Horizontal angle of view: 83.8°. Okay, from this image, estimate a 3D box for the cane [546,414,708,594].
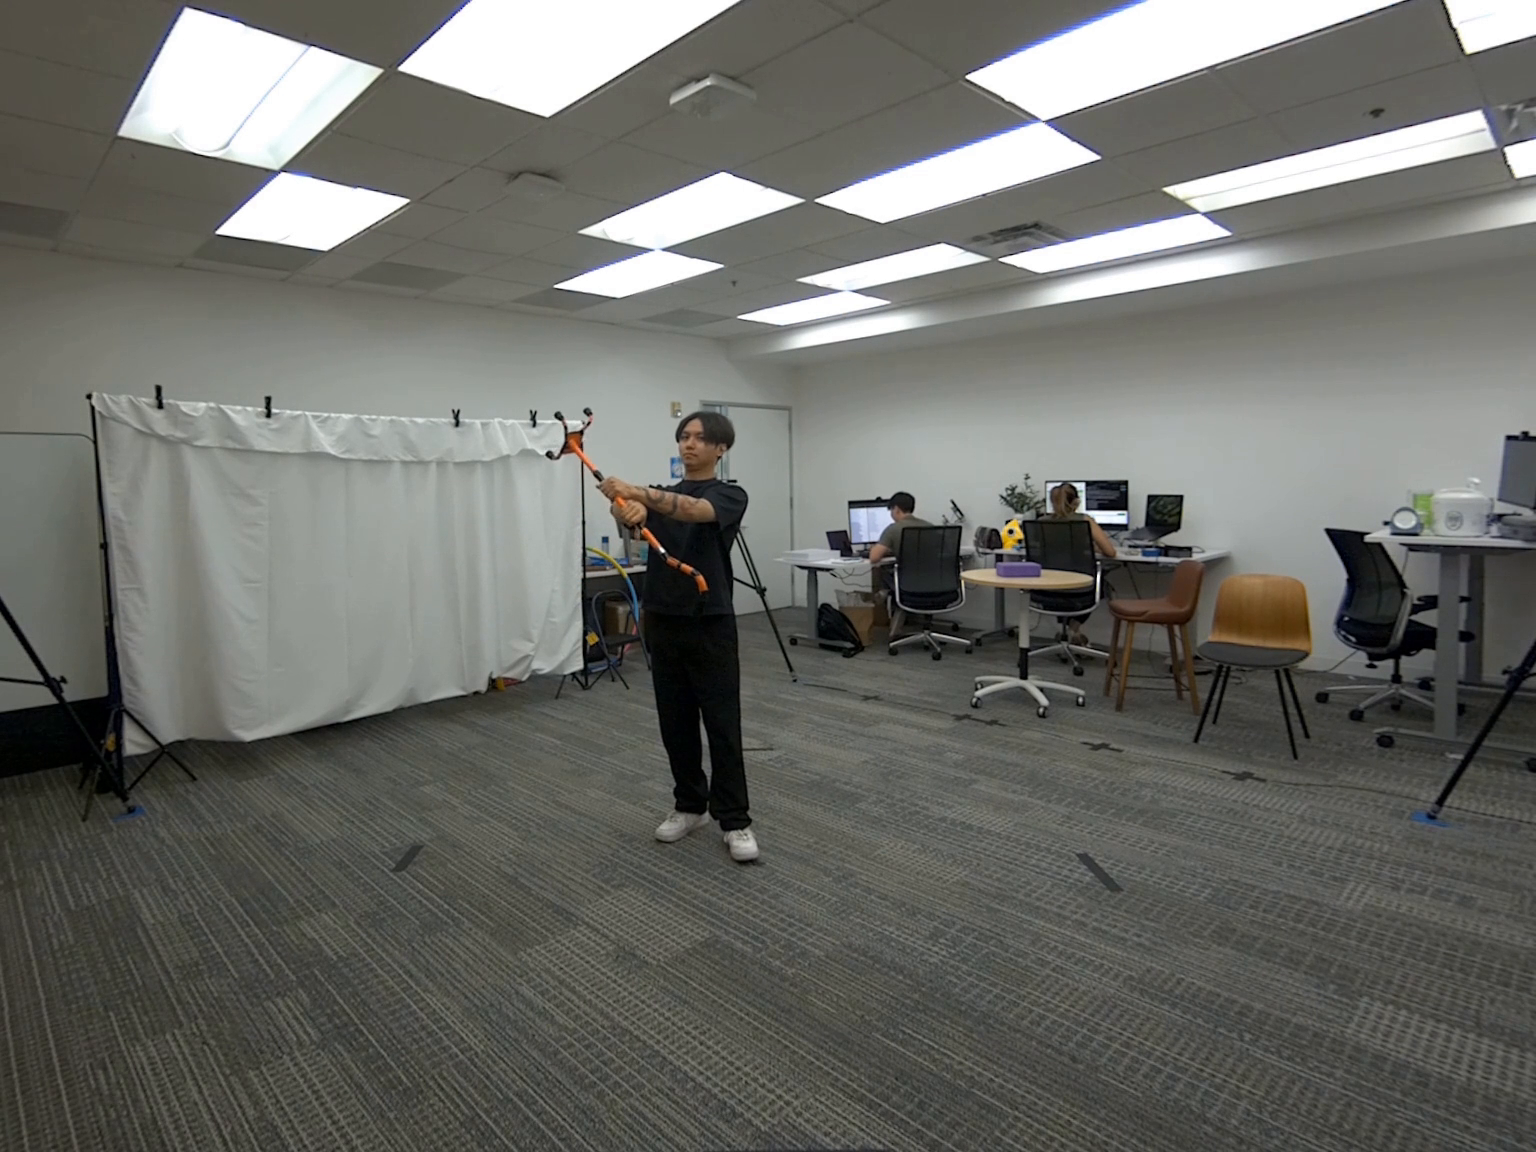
[{"bbox_3d":[-0.469,-0.228,2.938,0.148,0.203,0.939,-16,52,-38],"label":"cane"}]
